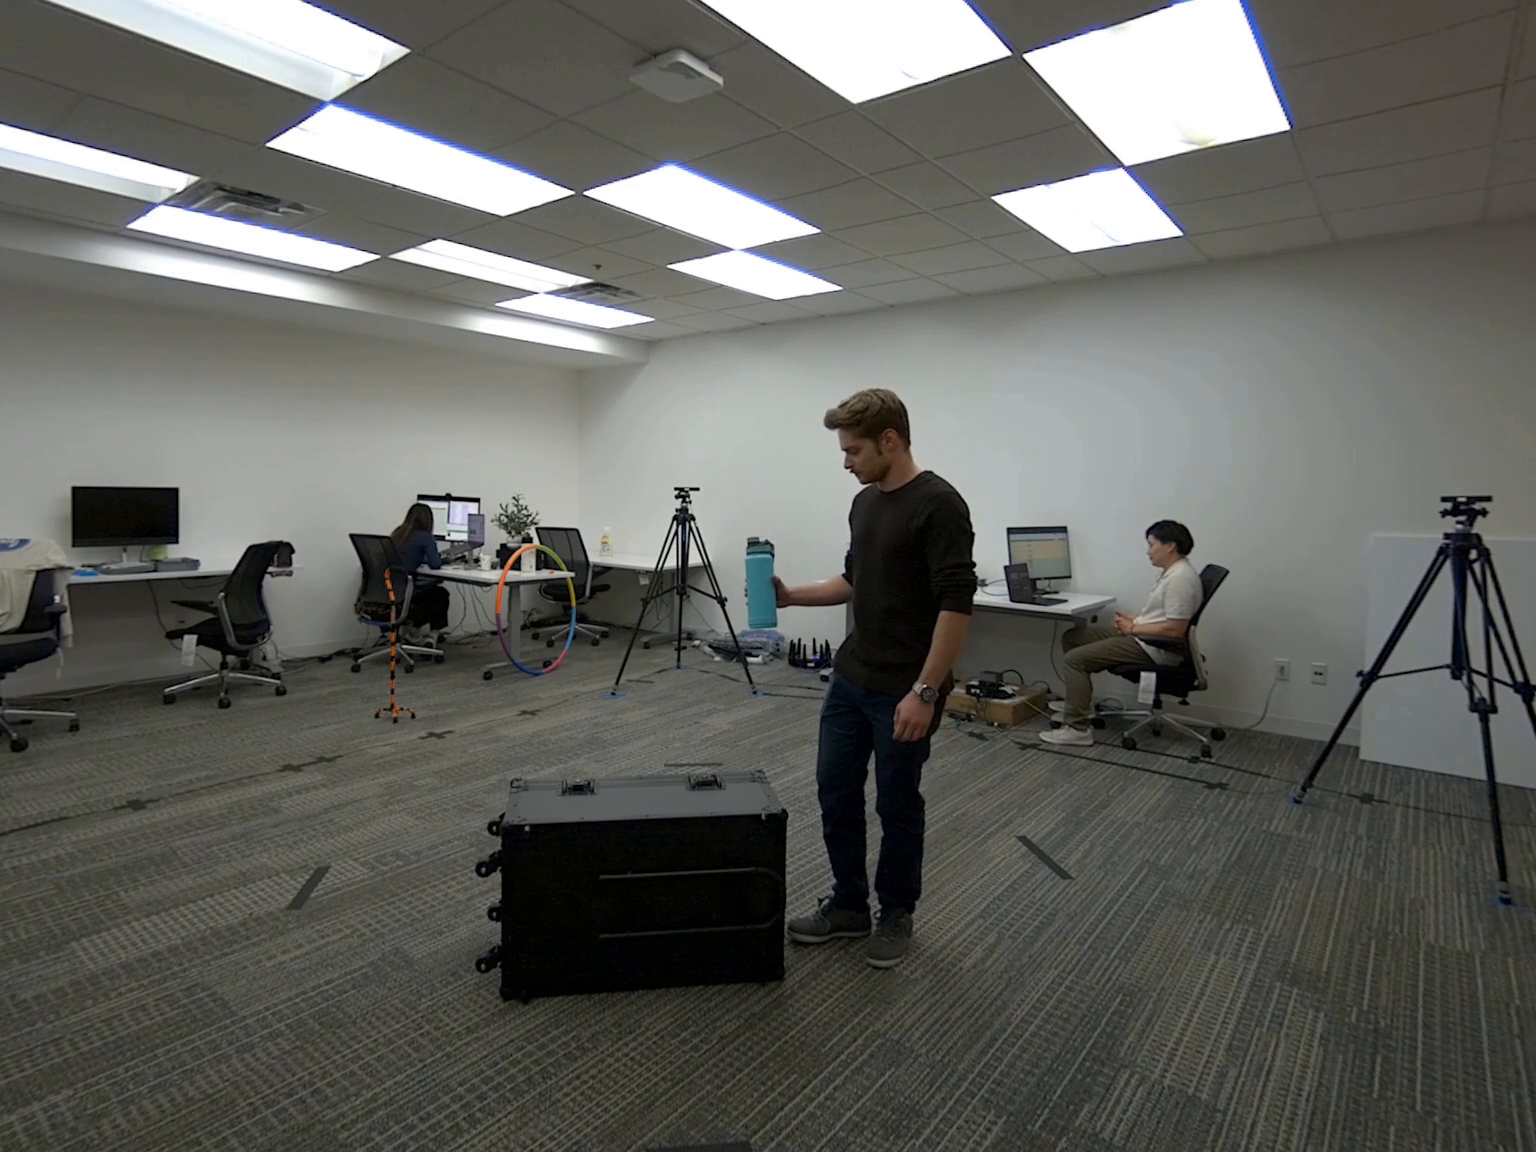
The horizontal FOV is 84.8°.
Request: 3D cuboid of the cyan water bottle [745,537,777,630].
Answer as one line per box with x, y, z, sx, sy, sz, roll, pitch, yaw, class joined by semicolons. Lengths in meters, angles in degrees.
-0.028;0.017;2.661;0.092;0.285;0.092;-2;-6;-2;cyan water bottle
